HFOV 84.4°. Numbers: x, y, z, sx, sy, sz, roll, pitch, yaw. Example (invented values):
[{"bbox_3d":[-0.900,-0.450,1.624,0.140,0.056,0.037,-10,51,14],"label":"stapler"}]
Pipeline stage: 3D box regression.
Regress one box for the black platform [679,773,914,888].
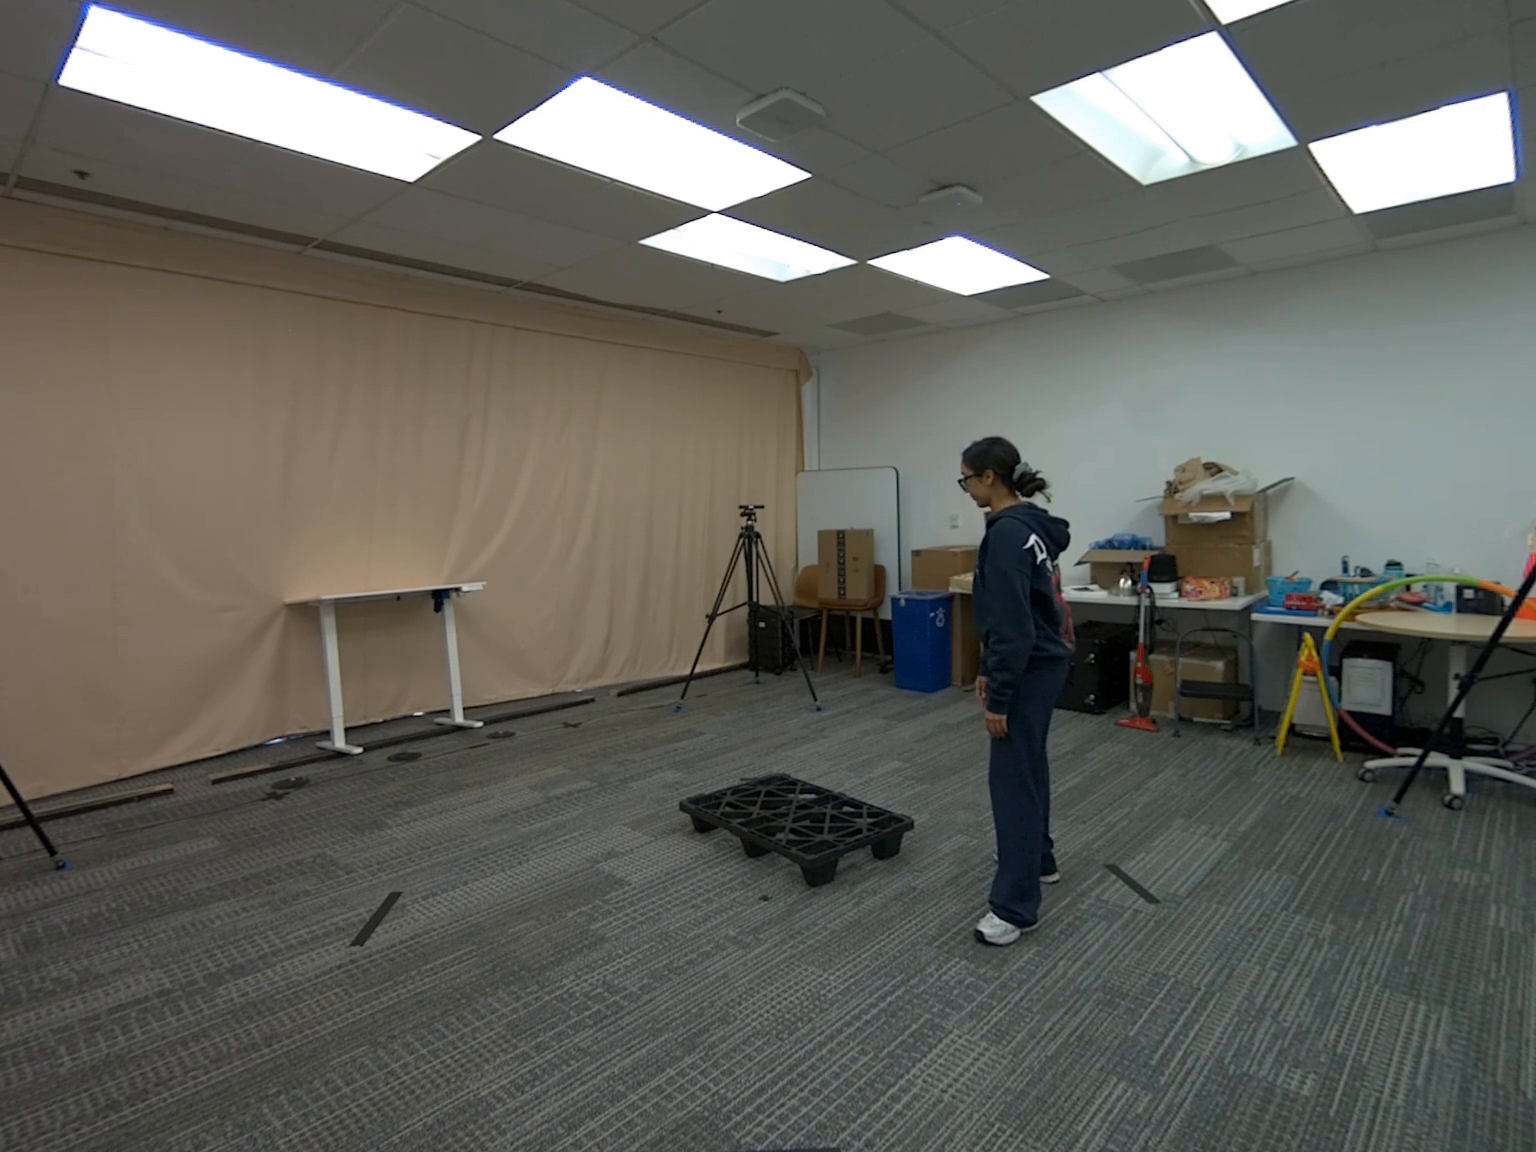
[{"bbox_3d":[0.104,1.031,3.469,0.587,0.143,0.832,-5,6,-40],"label":"black platform"}]
